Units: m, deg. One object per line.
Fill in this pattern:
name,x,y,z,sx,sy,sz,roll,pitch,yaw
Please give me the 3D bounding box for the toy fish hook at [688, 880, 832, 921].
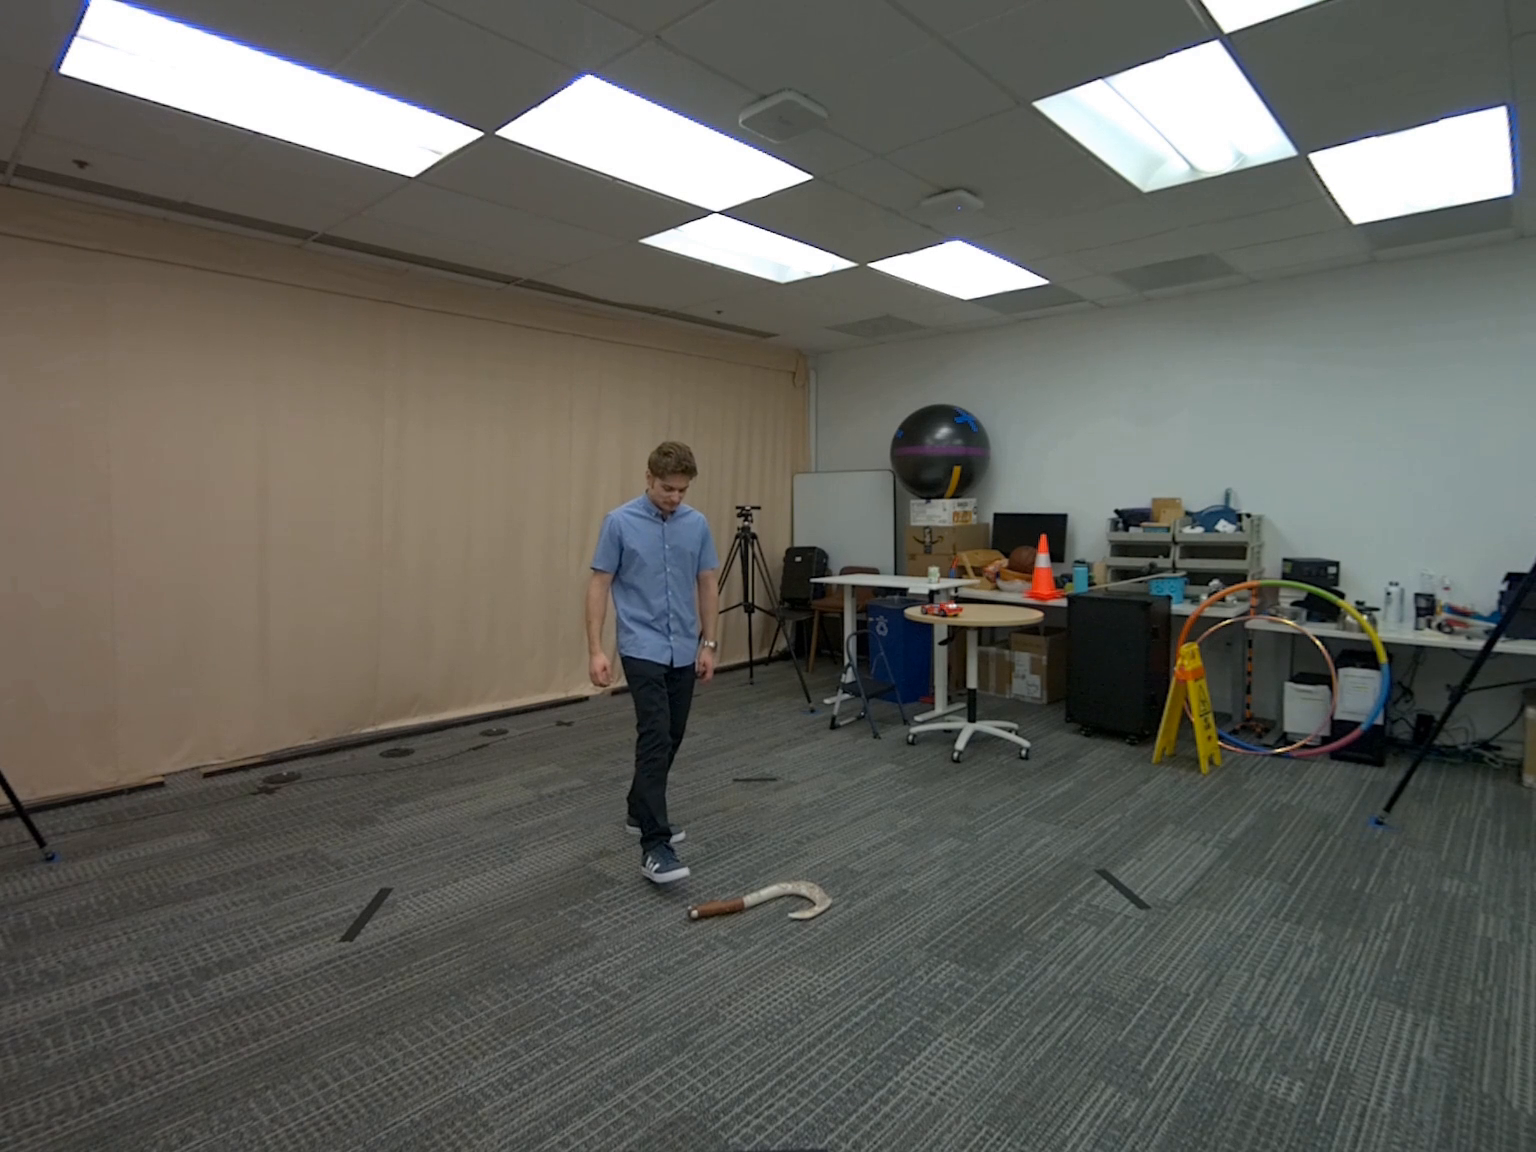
toy fish hook,-0.019,1.131,2.879,0.495,0.048,0.230,-2,4,-24
